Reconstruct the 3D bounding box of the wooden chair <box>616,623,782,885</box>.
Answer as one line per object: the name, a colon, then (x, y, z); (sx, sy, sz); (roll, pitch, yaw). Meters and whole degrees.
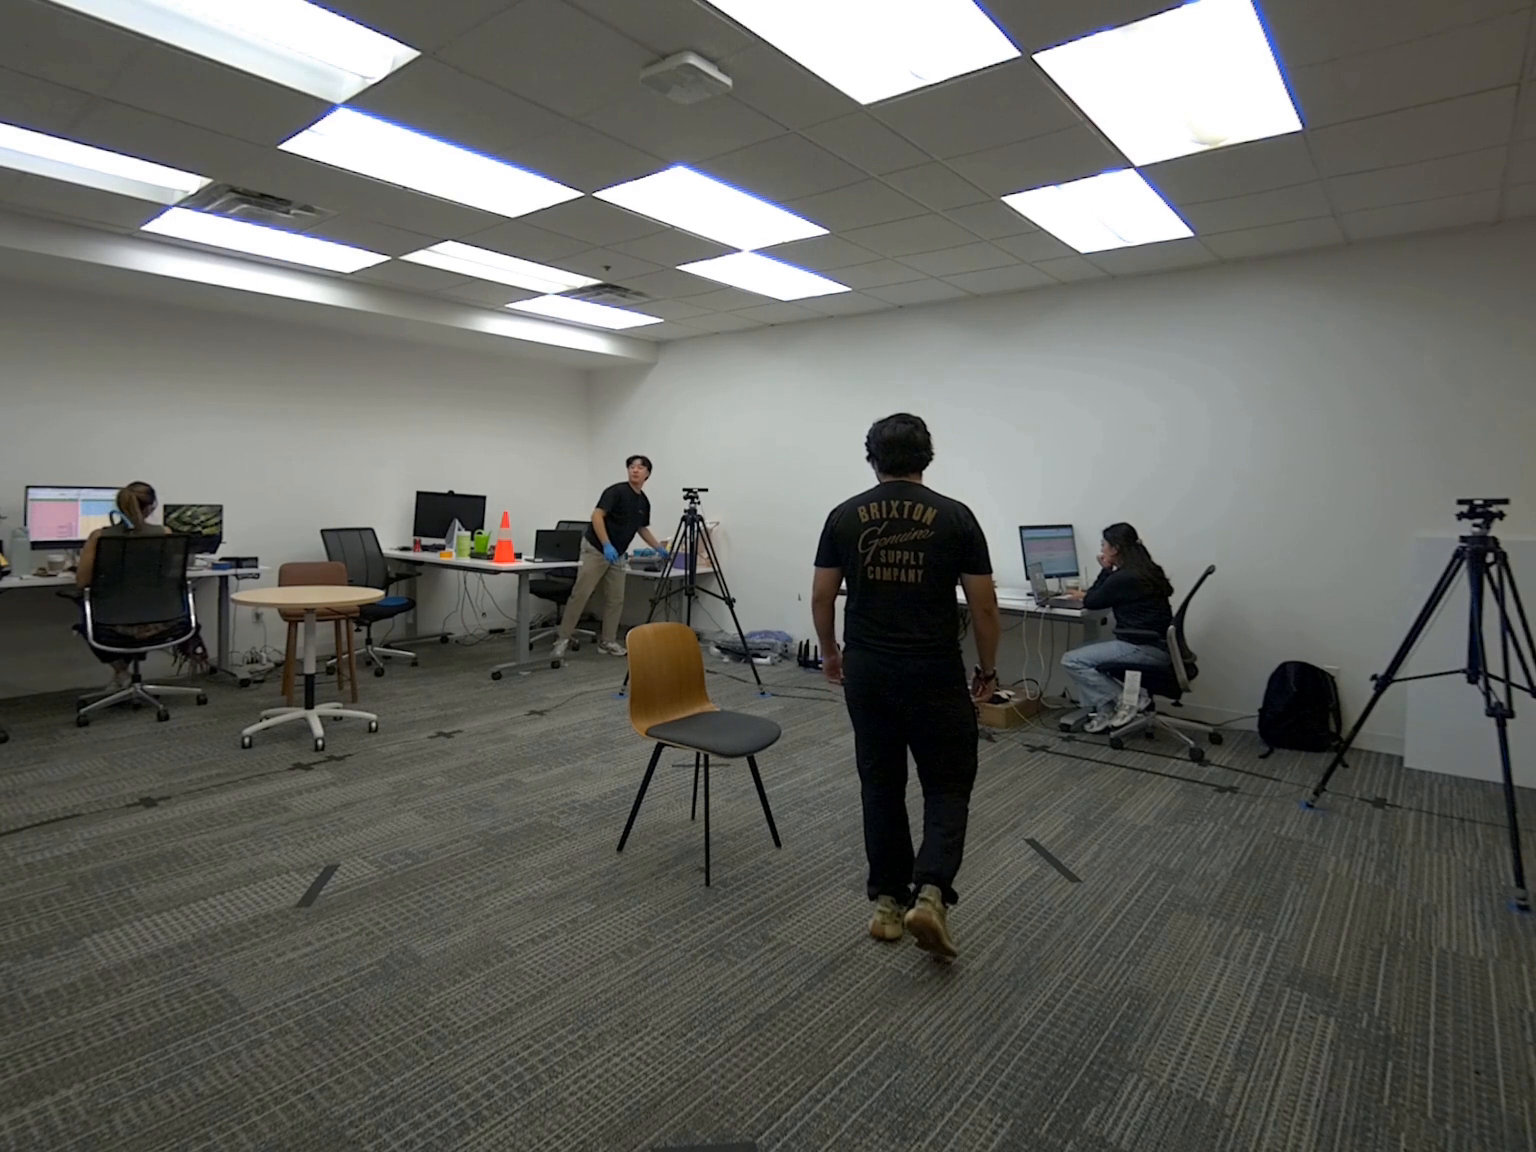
wooden chair: (-0.256, 0.627, 3.249); (0.539, 0.878, 0.464); (-2, 0, 38)
